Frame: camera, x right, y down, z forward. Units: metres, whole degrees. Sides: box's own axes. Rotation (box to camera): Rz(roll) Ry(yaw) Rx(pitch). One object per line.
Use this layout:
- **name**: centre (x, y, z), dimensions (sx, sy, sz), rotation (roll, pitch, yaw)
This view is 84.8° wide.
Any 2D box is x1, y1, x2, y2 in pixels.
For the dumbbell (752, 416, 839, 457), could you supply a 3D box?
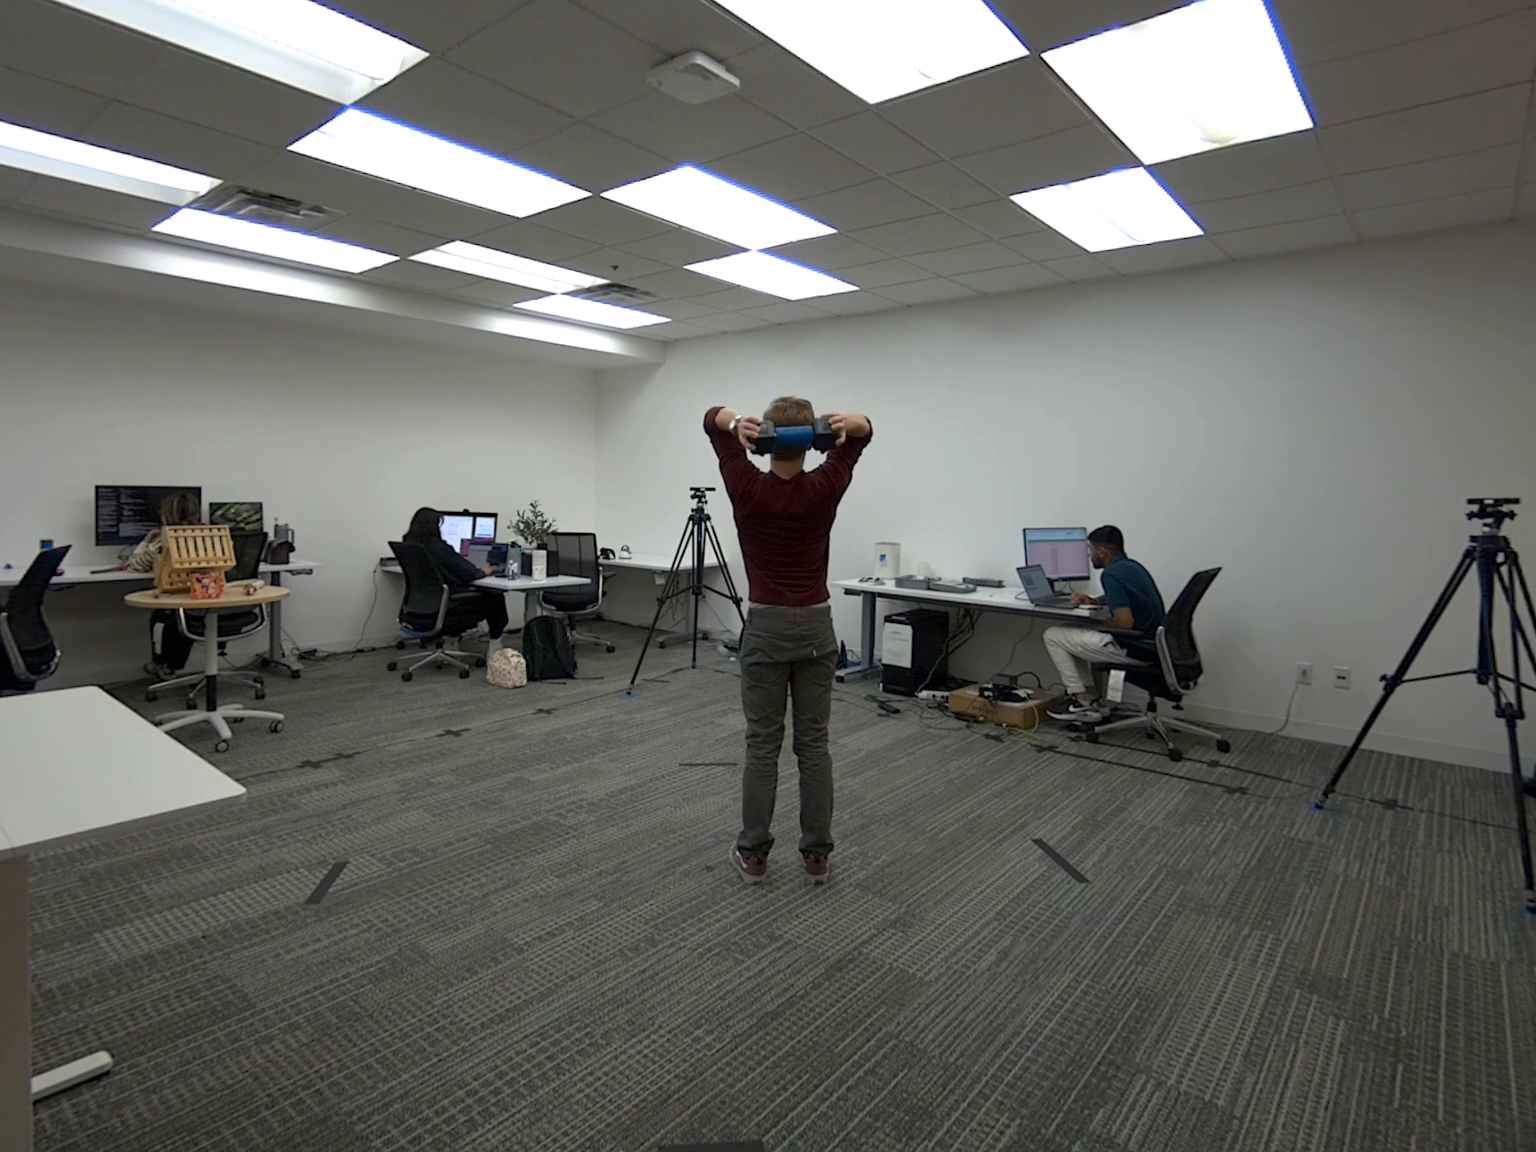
- **dumbbell**: centre (0.074, -0.481, 2.833), dimensions (0.294, 0.126, 0.106), rotation (-2, -25, 2)
